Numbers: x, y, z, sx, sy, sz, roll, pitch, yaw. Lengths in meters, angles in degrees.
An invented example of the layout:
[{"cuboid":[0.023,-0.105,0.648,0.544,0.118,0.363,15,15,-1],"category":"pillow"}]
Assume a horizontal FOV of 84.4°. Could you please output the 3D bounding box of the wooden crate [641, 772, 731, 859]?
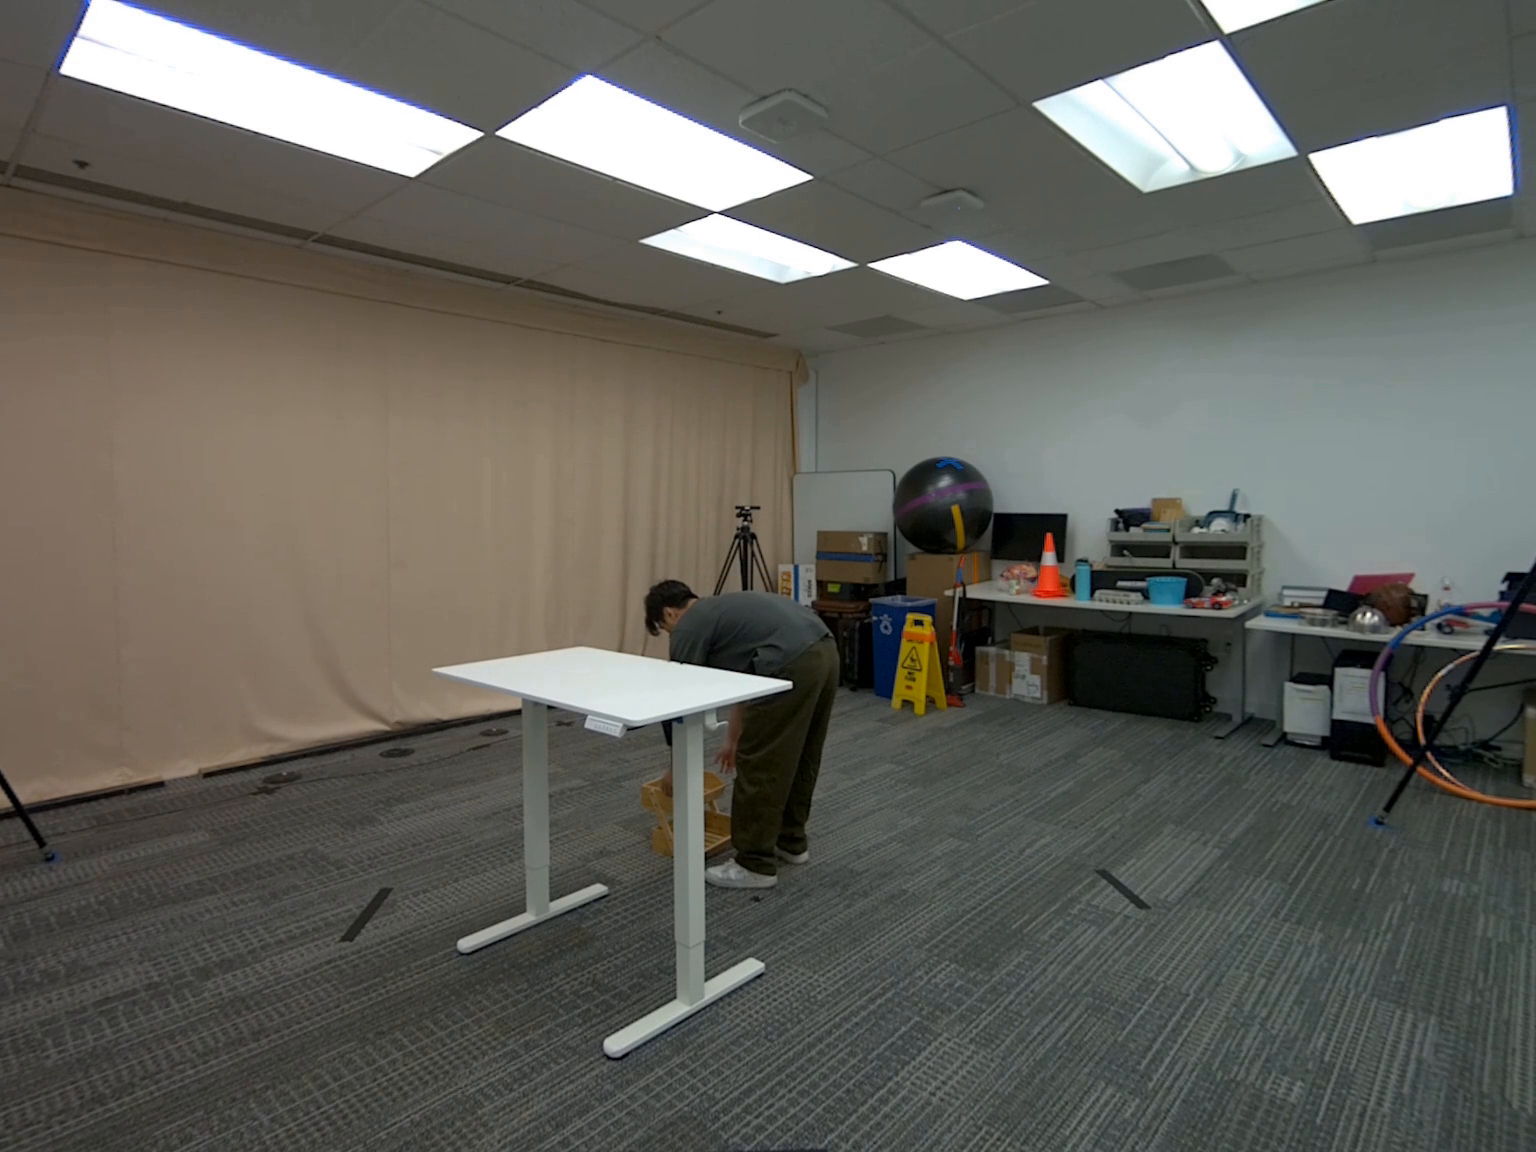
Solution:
[{"cuboid":[-0.304,0.972,3.465,0.311,0.273,0.315,1,4,35],"category":"wooden crate"}]
